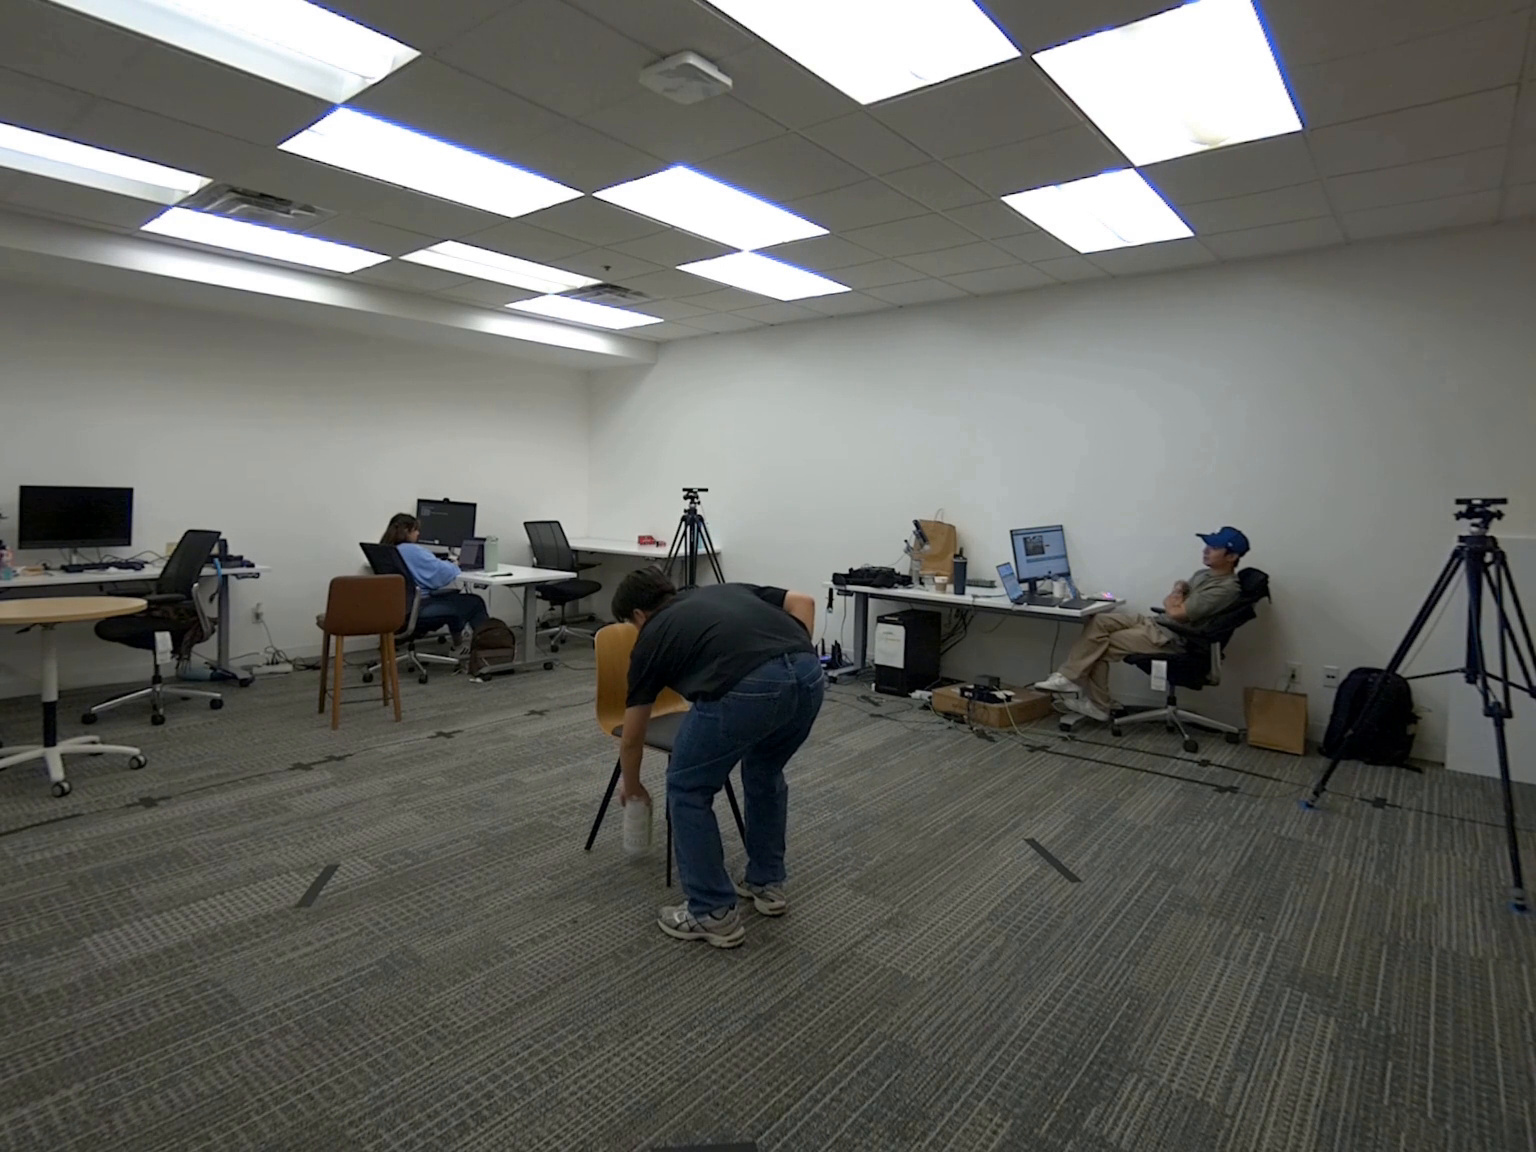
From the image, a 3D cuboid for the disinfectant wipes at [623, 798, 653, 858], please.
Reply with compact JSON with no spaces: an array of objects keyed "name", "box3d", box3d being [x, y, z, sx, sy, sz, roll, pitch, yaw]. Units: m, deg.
[{"name":"disinfectant wipes","box3d":[-0.496,0.908,3.158,0.117,0.215,0.119,4,11,-3]}]
